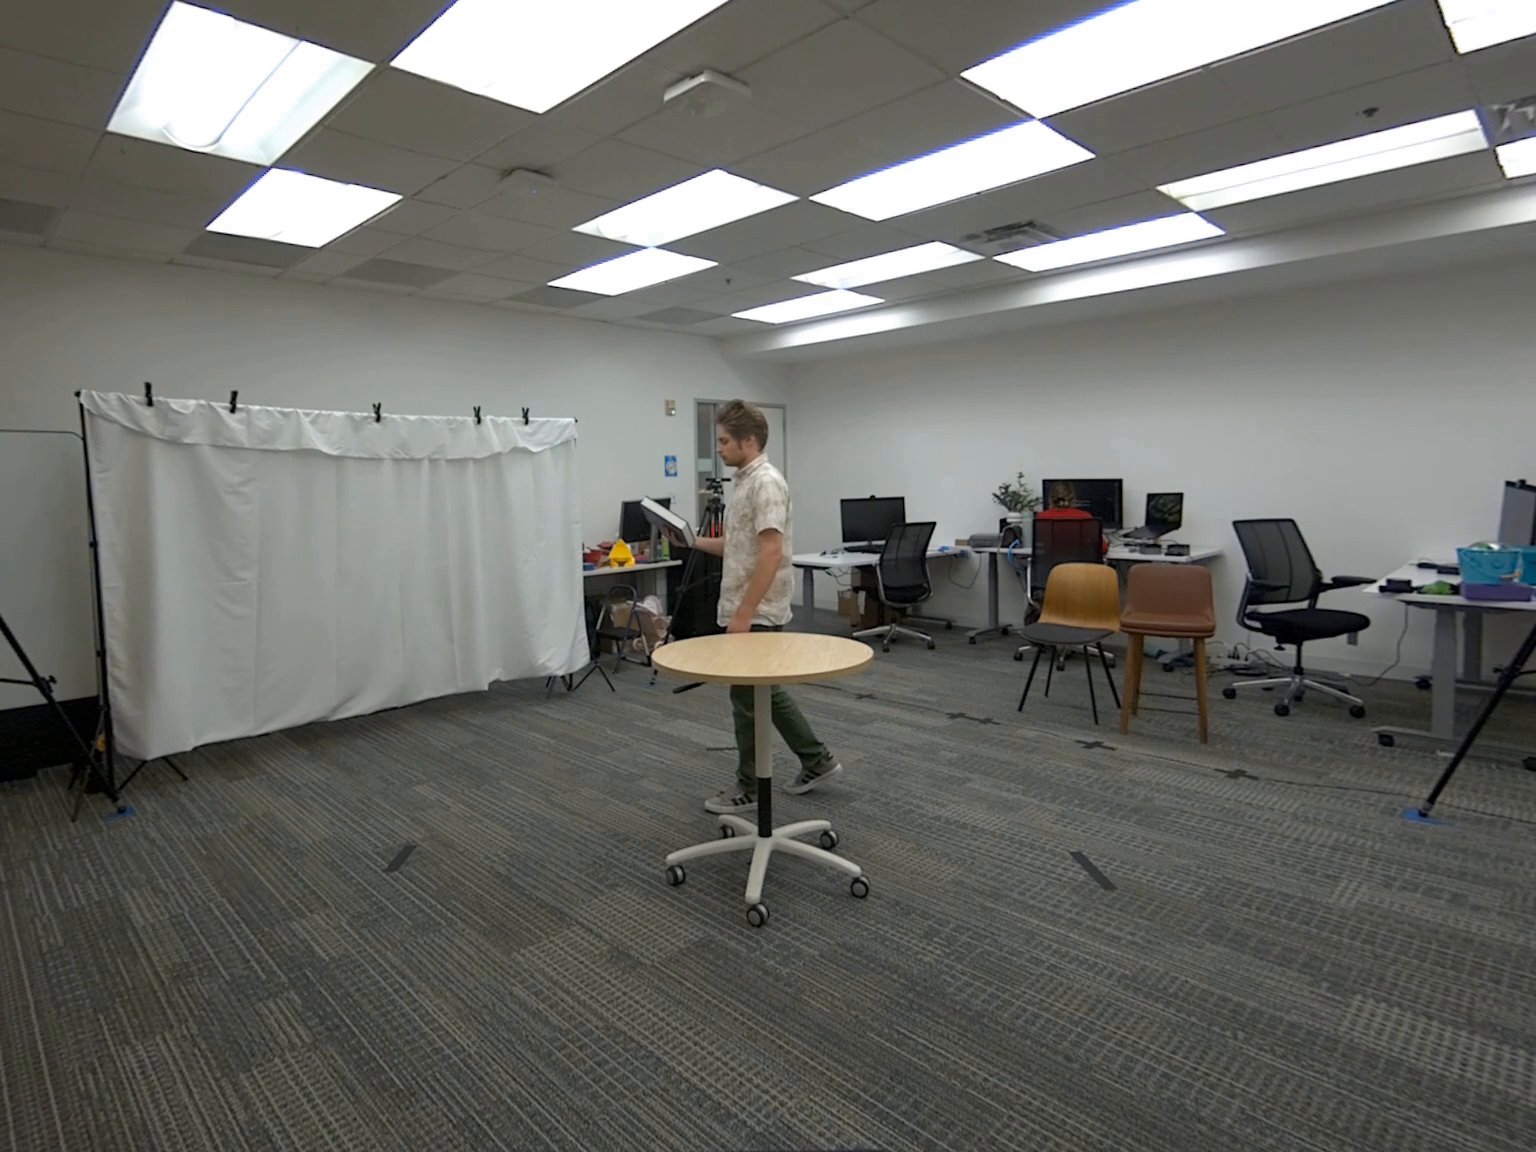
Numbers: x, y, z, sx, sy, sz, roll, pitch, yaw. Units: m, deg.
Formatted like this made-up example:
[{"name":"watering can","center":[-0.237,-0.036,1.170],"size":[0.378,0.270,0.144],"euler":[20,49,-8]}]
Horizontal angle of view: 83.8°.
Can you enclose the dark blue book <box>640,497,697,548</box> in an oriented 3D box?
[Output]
[{"name":"dark blue book","center":[-0.426,-0.234,3.657],"size":[0.253,0.045,0.158],"euler":[33,-19,26]}]
